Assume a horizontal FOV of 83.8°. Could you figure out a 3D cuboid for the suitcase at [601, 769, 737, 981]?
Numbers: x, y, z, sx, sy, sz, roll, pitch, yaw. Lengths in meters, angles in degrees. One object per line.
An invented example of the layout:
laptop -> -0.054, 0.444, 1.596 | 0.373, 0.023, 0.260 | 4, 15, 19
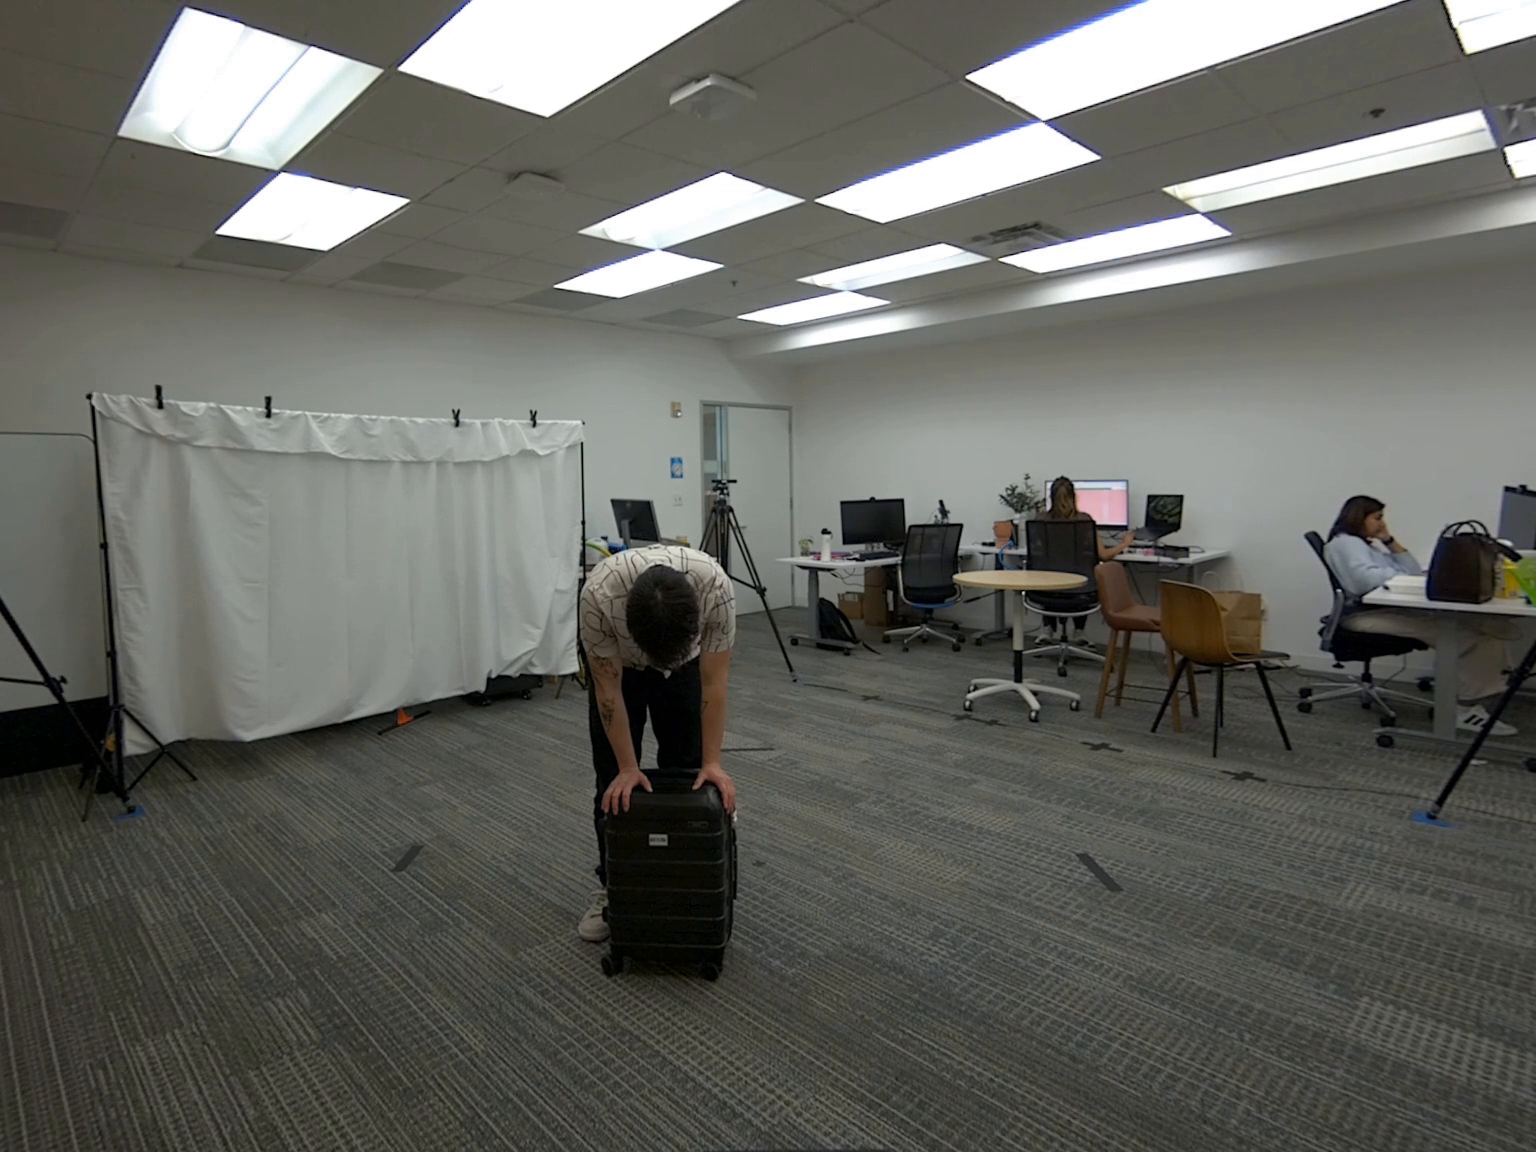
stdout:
suitcase -> -0.279, 0.852, 2.492 | 0.377, 0.546, 0.249 | 0, 6, 4
